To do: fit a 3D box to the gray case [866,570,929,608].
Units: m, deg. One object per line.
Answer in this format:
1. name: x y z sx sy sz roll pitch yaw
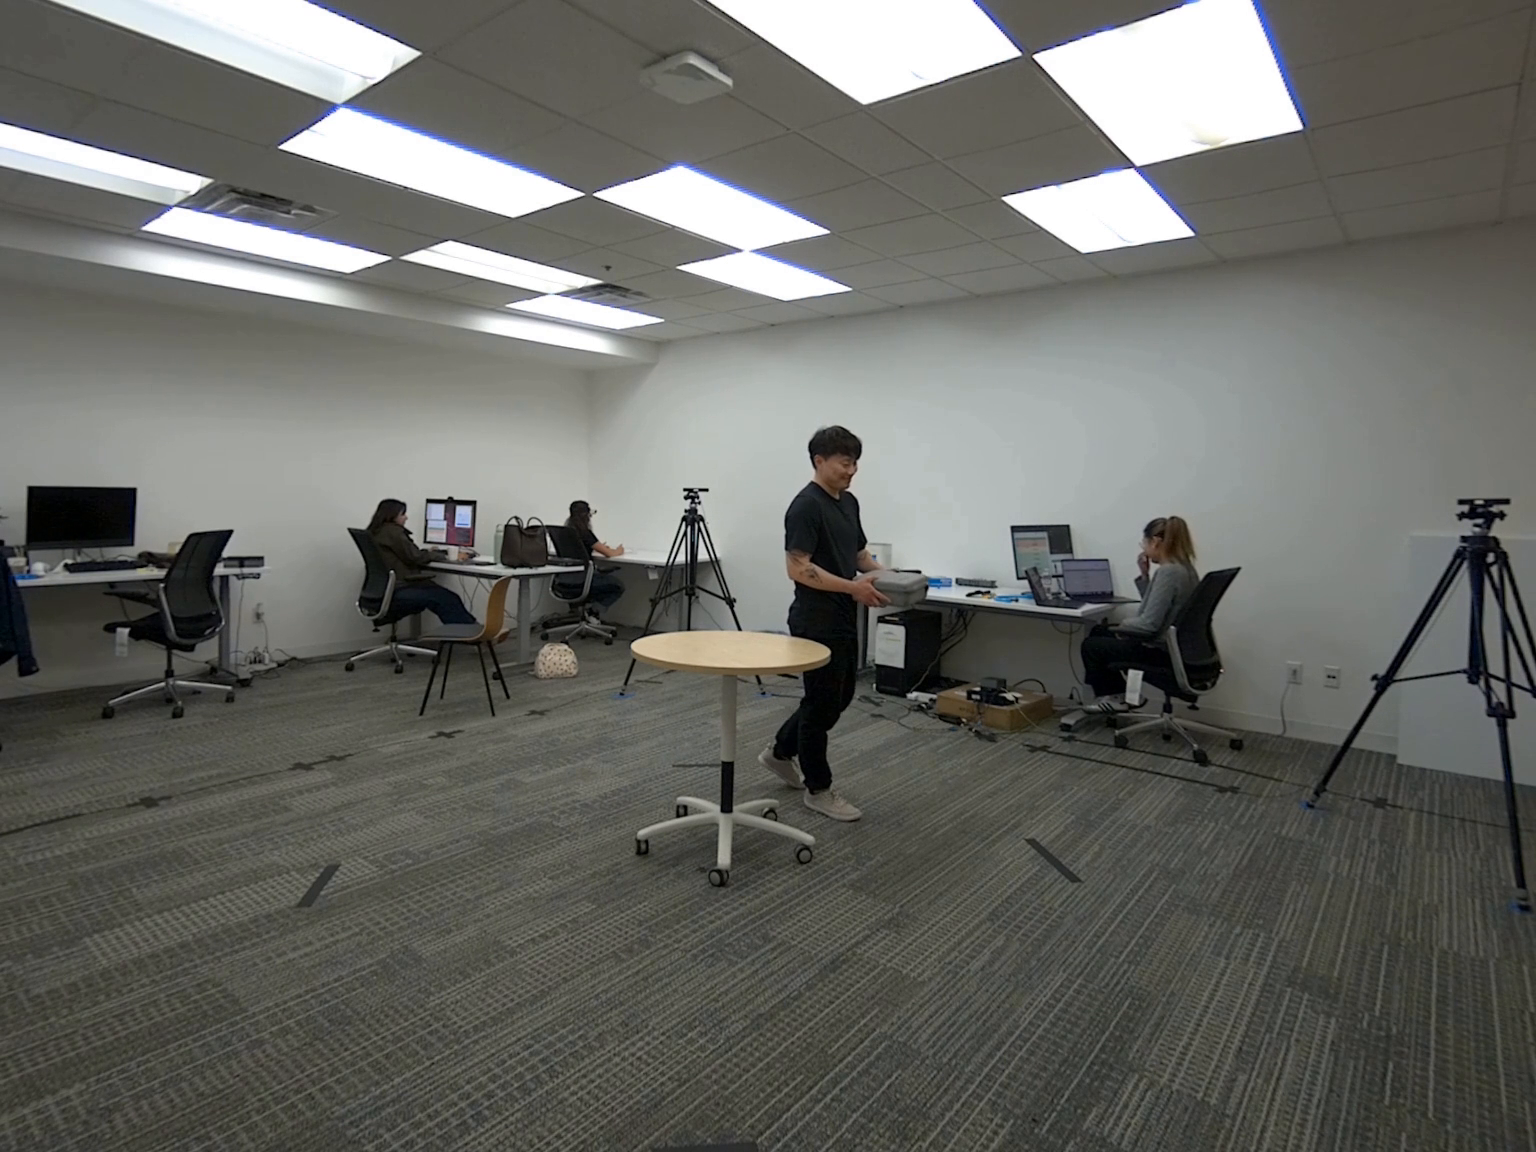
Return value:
1. gray case: 0.505 0.047 3.541 0.269 0.103 0.251 7 11 30
